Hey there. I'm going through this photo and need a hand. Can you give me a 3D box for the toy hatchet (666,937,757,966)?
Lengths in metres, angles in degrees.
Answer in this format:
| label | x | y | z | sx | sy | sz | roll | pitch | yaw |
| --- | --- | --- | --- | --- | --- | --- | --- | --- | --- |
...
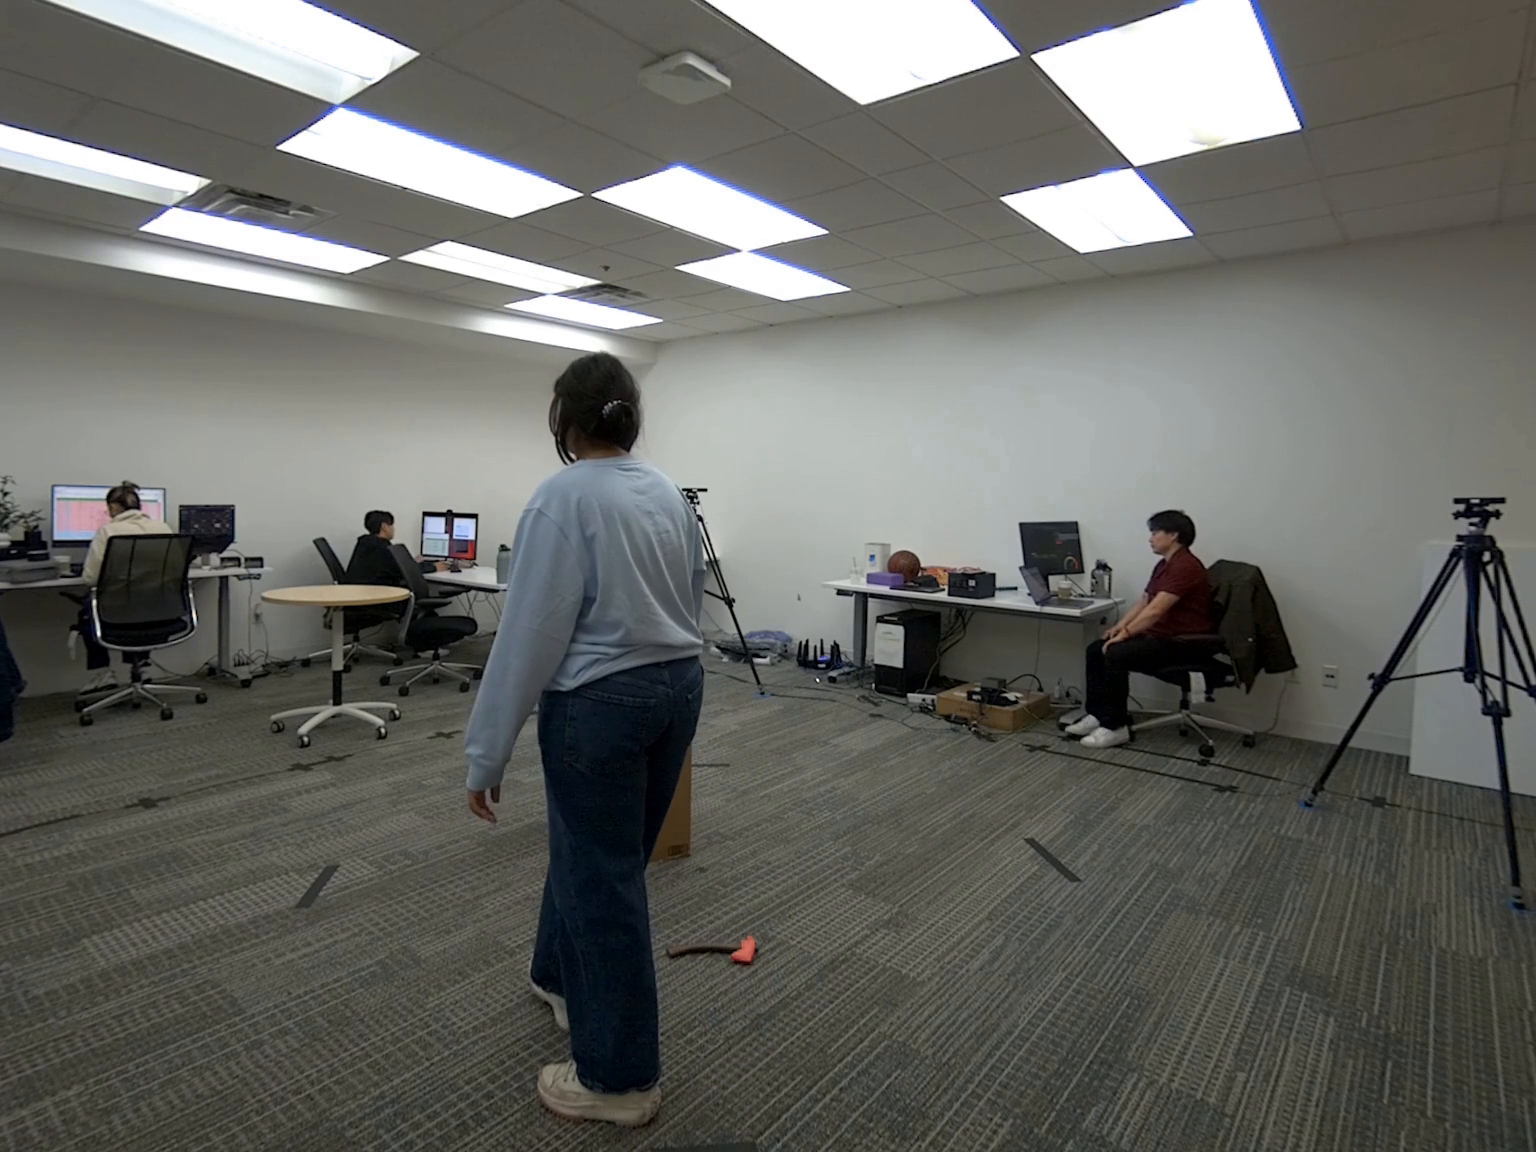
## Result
| label | x | y | z | sx | sy | sz | roll | pitch | yaw |
| --- | --- | --- | --- | --- | --- | --- | --- | --- | --- |
| toy hatchet | -0.161 | 1.118 | 2.514 | 0.266 | 0.029 | 0.134 | -3 | 8 | -17 |
